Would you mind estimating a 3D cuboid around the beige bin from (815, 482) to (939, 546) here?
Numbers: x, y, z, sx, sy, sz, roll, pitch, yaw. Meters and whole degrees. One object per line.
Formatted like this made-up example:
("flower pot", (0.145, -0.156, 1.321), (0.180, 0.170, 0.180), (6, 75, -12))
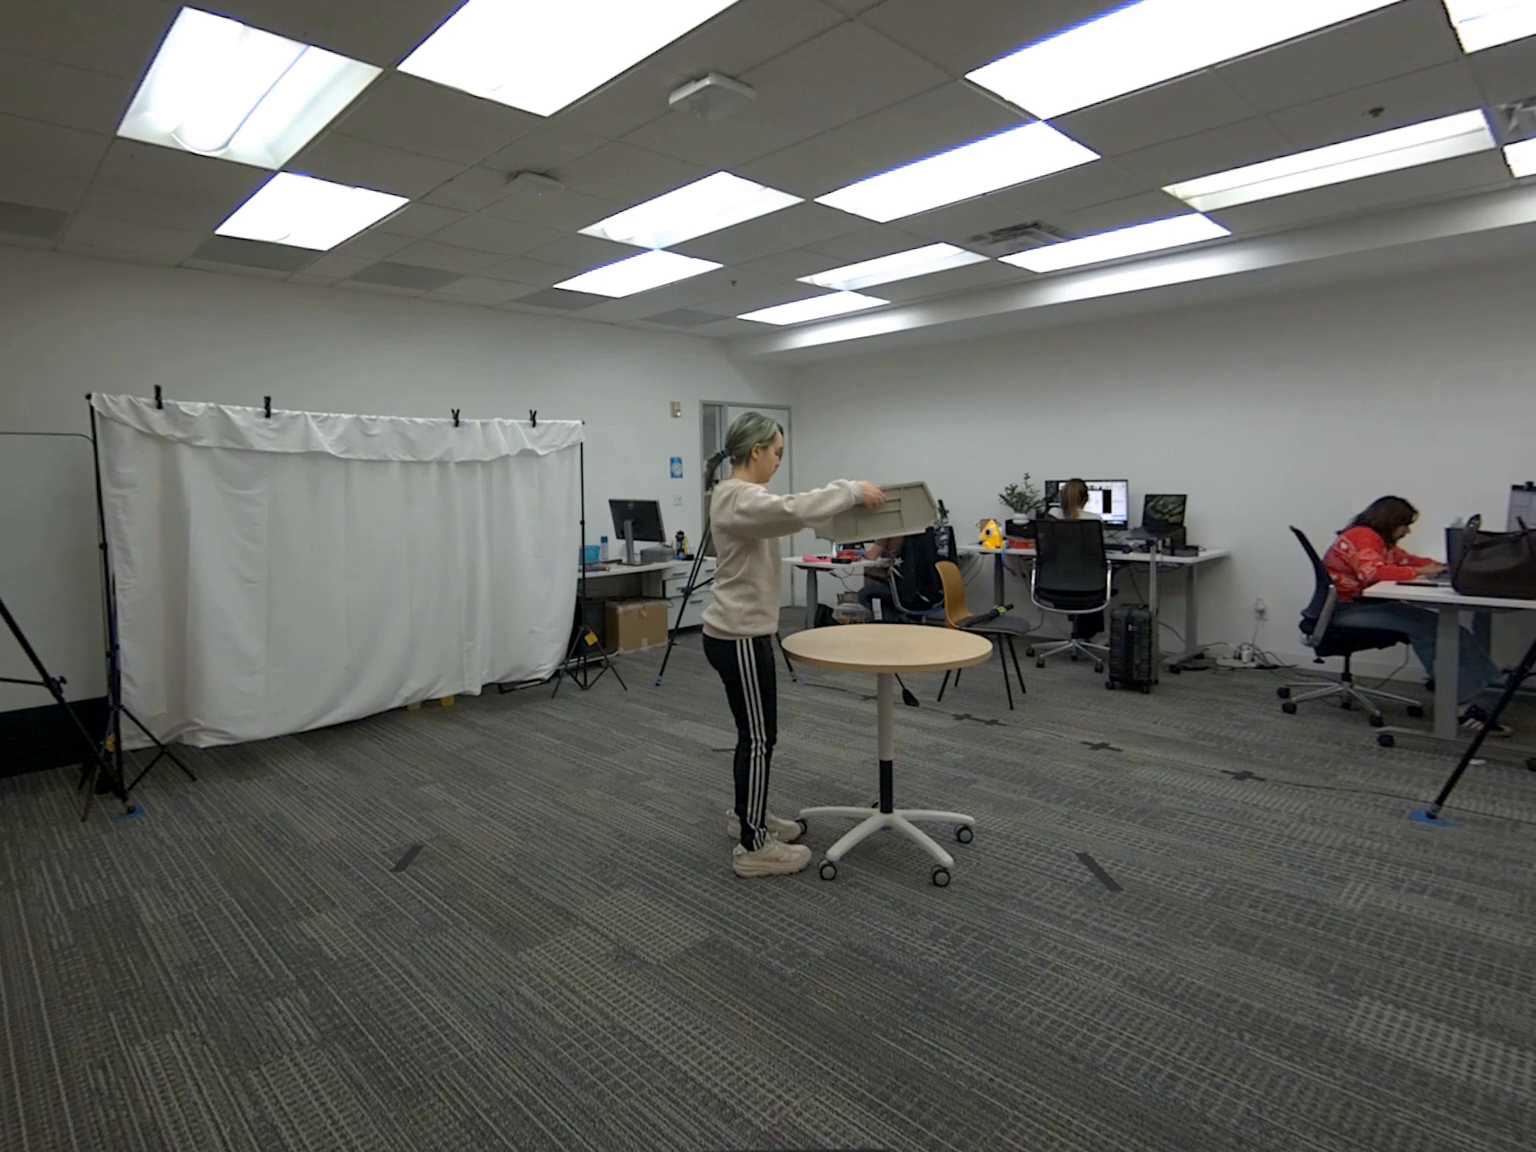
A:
("beige bin", (0.385, -0.232, 3.141), (0.376, 0.188, 0.425), (-8, 5, -4))
